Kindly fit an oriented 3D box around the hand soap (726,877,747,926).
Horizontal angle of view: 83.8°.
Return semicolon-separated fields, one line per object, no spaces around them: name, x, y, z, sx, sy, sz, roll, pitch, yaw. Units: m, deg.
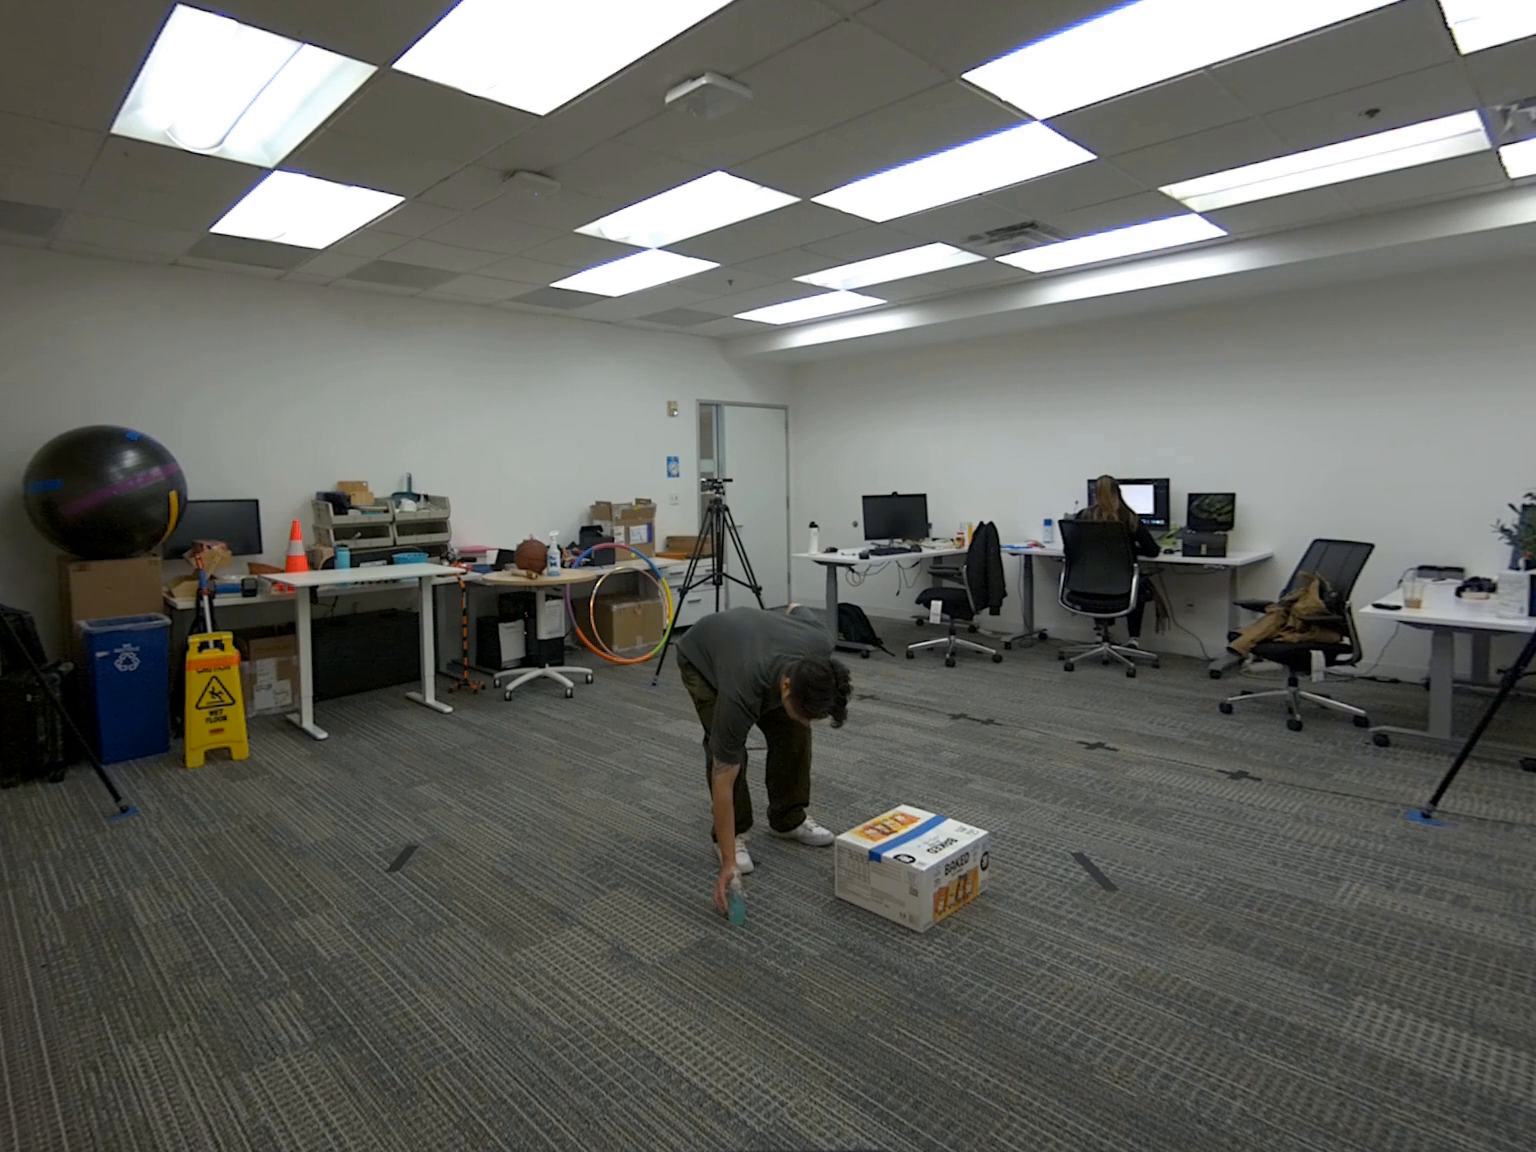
hand soap;-0.105;1.019;2.705;0.042;0.168;0.086;-1;3;-24
